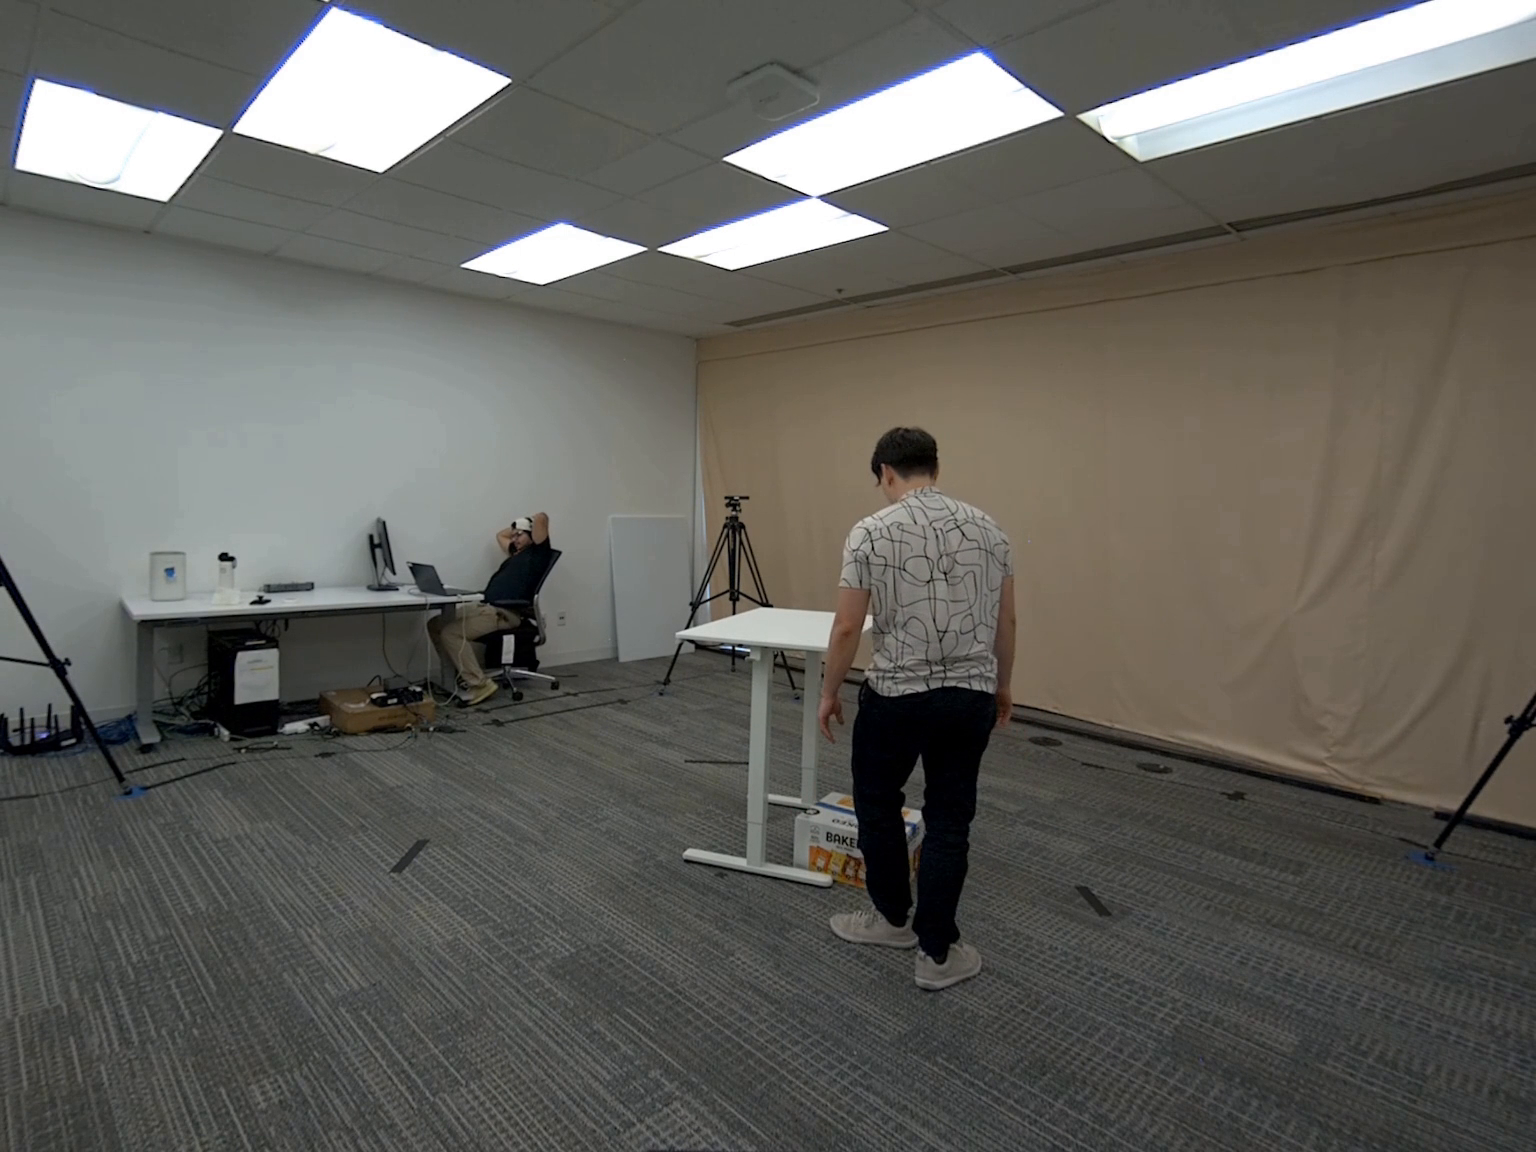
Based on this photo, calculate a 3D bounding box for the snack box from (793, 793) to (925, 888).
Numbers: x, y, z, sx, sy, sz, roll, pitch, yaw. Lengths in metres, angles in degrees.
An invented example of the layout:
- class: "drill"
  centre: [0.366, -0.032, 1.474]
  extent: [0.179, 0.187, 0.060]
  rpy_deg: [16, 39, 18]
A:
- class: "snack box"
  centre: [0.348, 1.006, 3.192]
  extent: [0.414, 0.205, 0.334]
  rpy_deg: [4, 4, 28]
